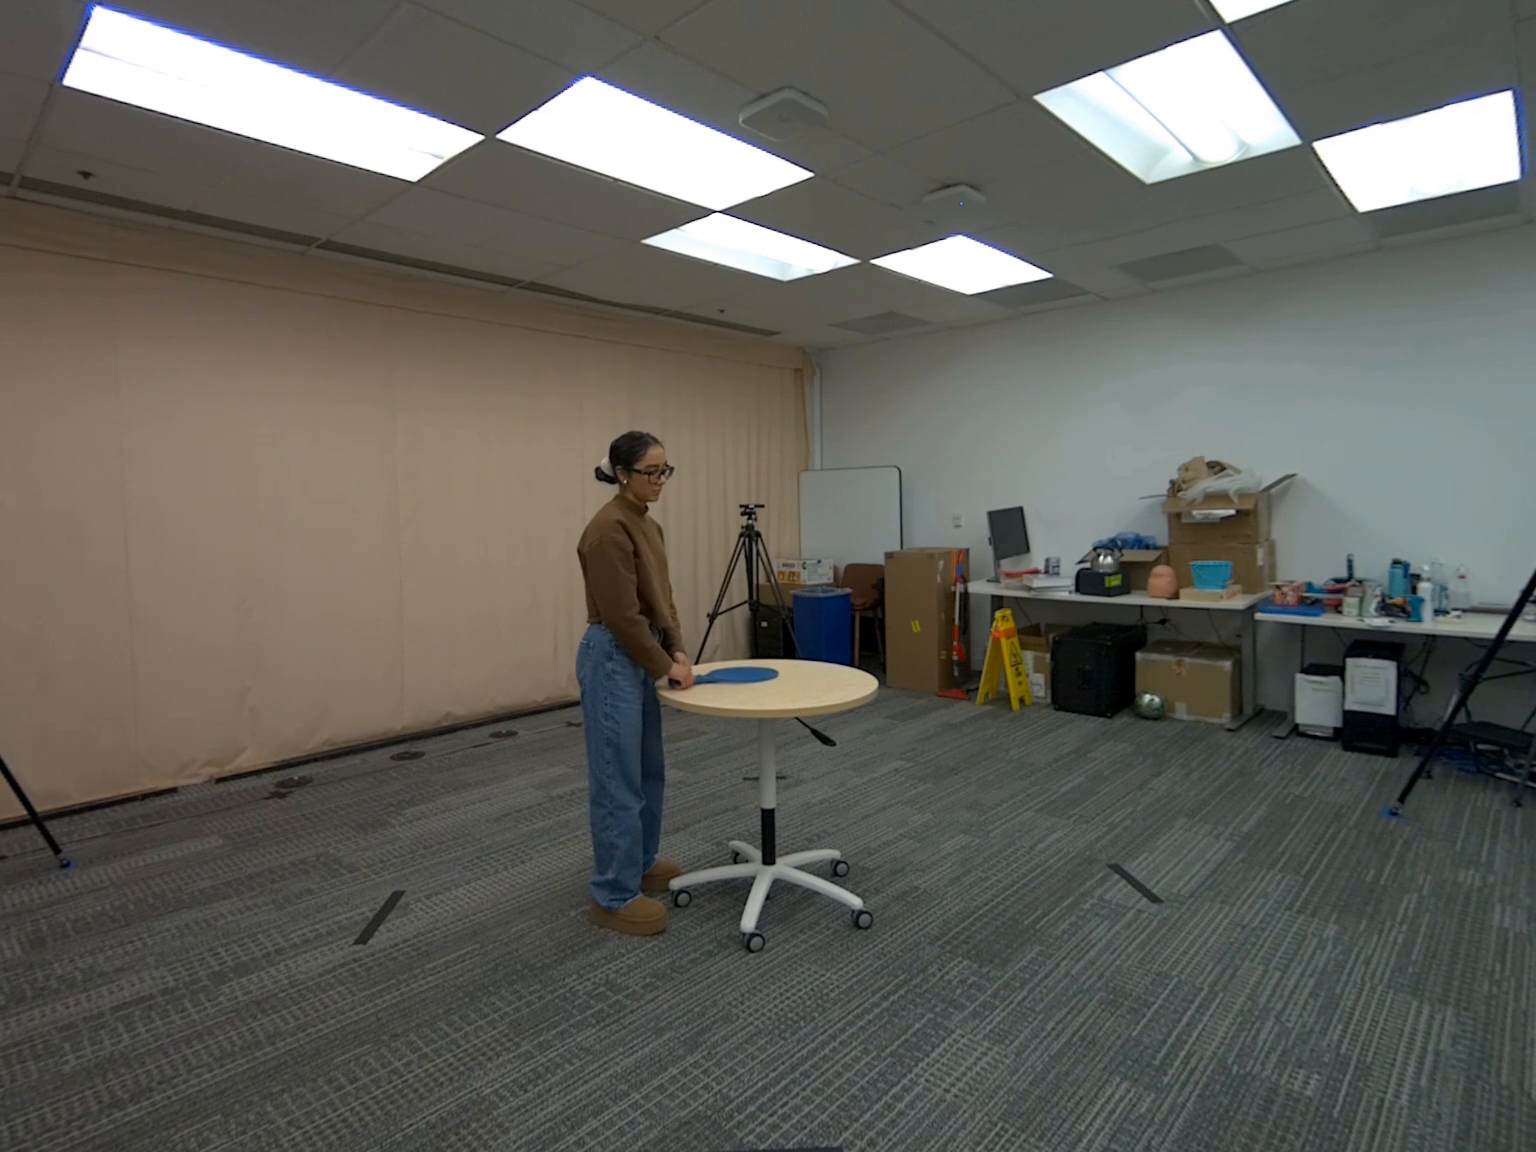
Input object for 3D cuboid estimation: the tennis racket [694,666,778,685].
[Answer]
[{"bbox_3d":[-0.161,0.358,2.934,0.421,0.031,0.220,-2,7,-33],"label":"tennis racket"}]
